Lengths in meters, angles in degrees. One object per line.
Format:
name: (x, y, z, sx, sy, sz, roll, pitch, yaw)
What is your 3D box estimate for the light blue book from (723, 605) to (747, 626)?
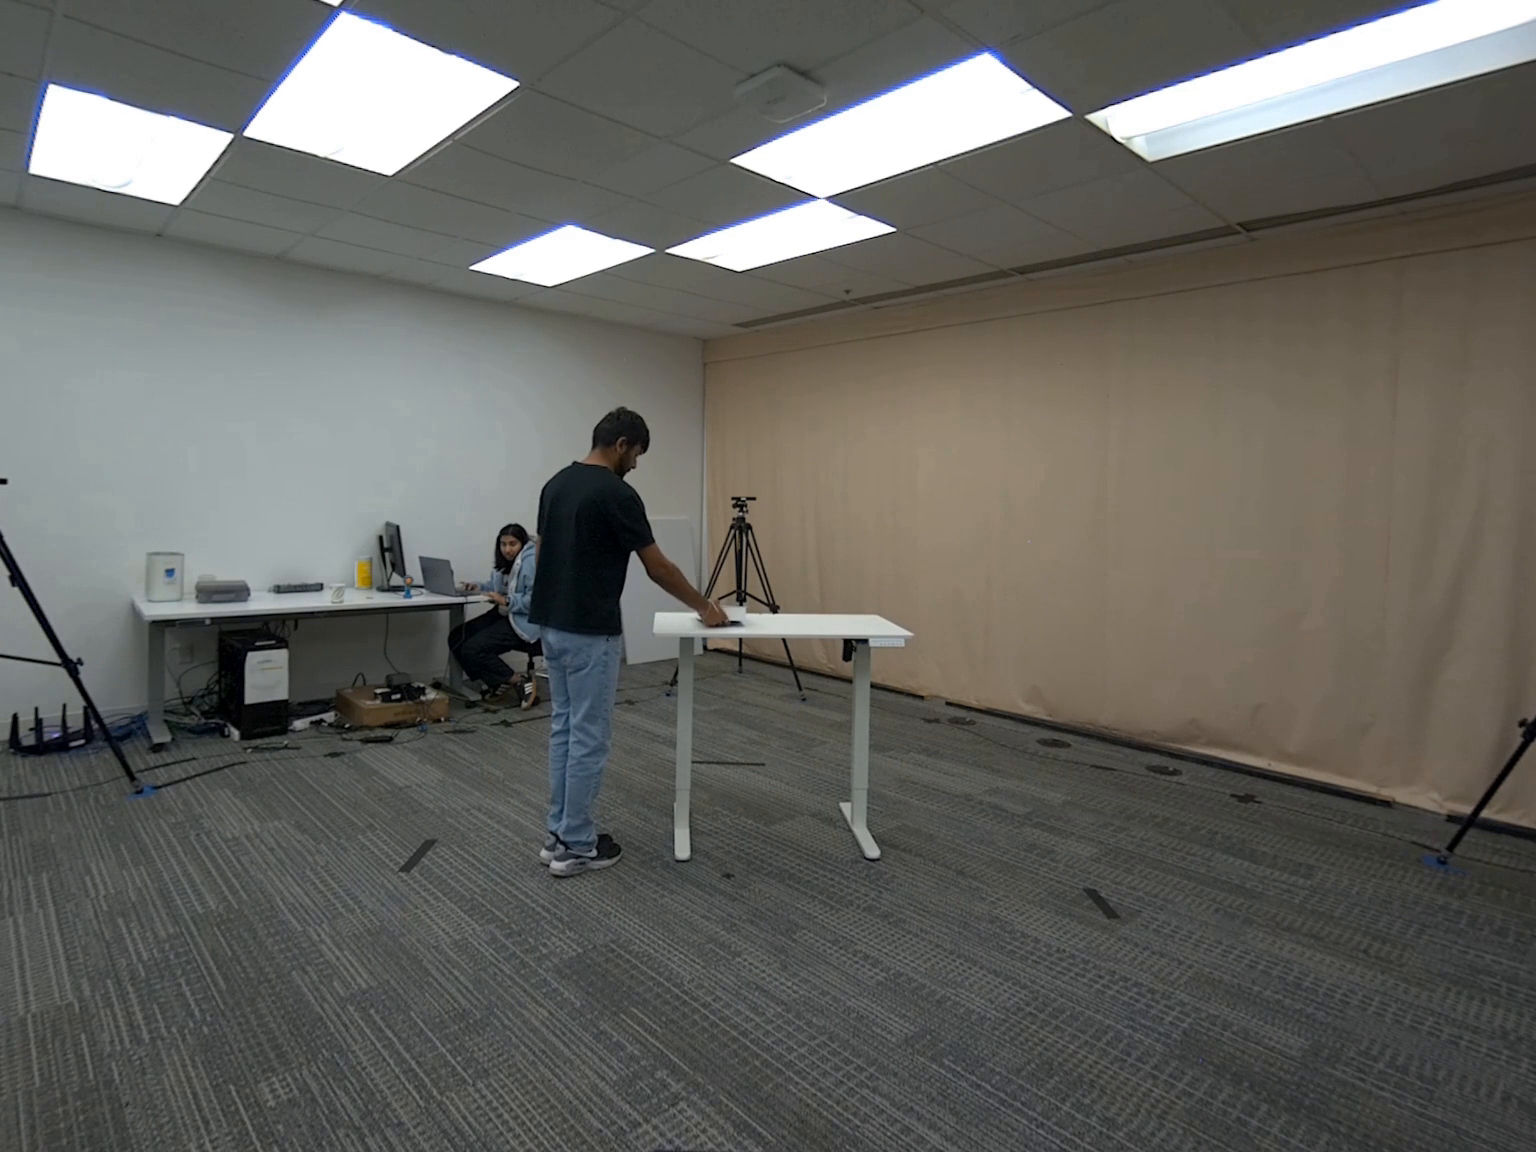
light blue book: (-0.208, 0.153, 3.482, 0.190, 0.059, 0.262, 2, 1, -7)
